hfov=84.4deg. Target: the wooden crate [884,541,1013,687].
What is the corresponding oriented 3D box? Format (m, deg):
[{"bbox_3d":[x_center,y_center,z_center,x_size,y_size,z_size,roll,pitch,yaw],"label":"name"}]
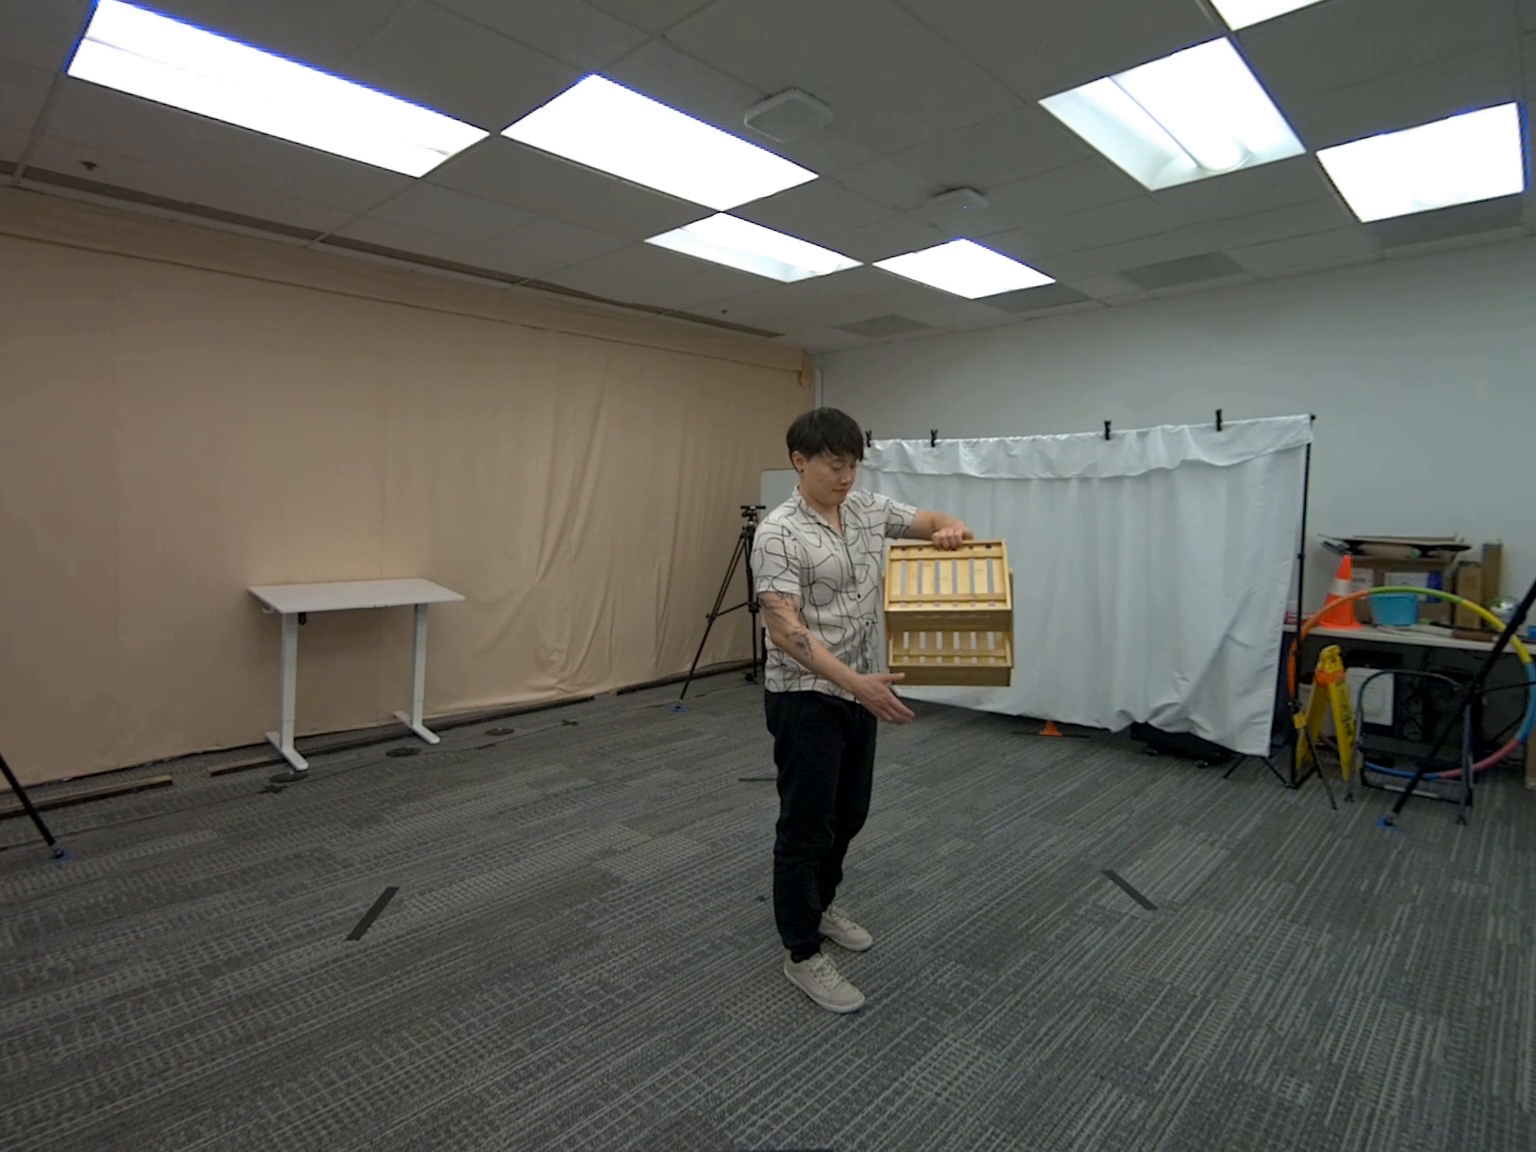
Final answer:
[{"bbox_3d":[0.487,0.096,2.208,0.328,0.306,0.266,-2,-40,11],"label":"wooden crate"}]
